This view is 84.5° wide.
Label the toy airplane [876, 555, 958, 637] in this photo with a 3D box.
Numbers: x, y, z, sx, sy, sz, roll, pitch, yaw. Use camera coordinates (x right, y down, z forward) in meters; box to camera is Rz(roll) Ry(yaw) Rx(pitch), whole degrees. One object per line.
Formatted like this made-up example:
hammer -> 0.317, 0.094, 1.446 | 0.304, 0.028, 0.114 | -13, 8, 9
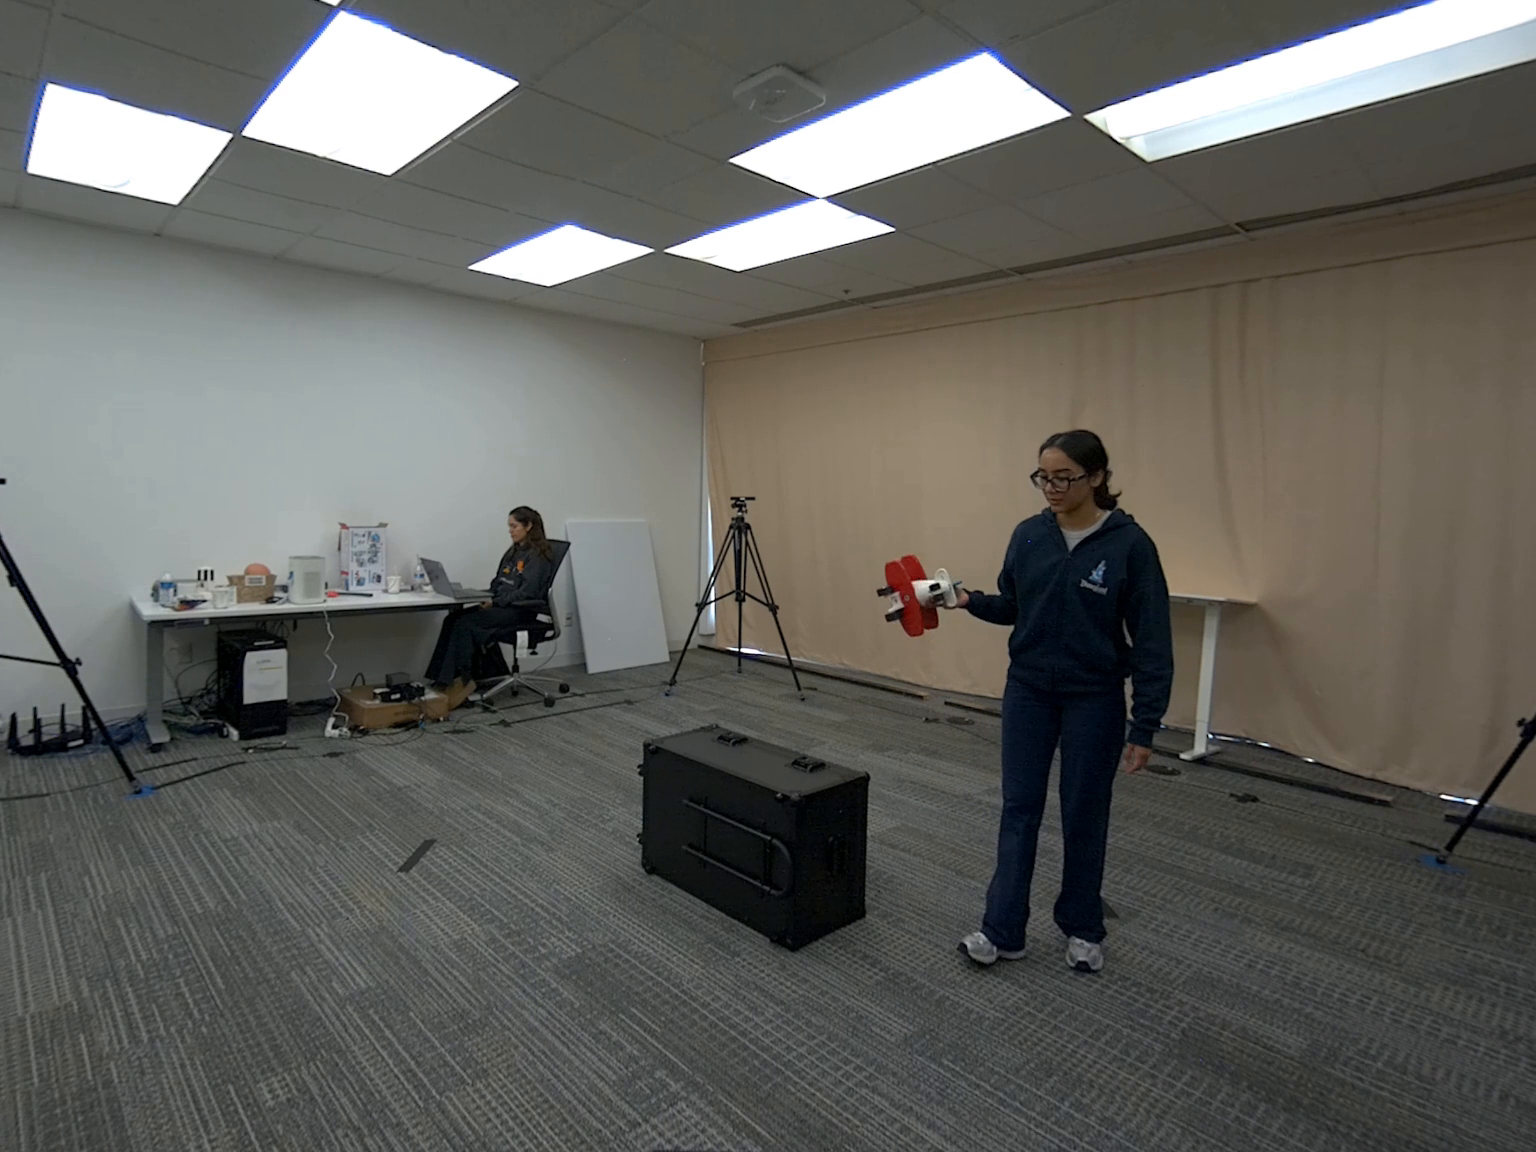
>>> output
toy airplane -> 0.470, 0.079, 2.701 | 0.266, 0.248, 0.154 | 15, 21, 34
